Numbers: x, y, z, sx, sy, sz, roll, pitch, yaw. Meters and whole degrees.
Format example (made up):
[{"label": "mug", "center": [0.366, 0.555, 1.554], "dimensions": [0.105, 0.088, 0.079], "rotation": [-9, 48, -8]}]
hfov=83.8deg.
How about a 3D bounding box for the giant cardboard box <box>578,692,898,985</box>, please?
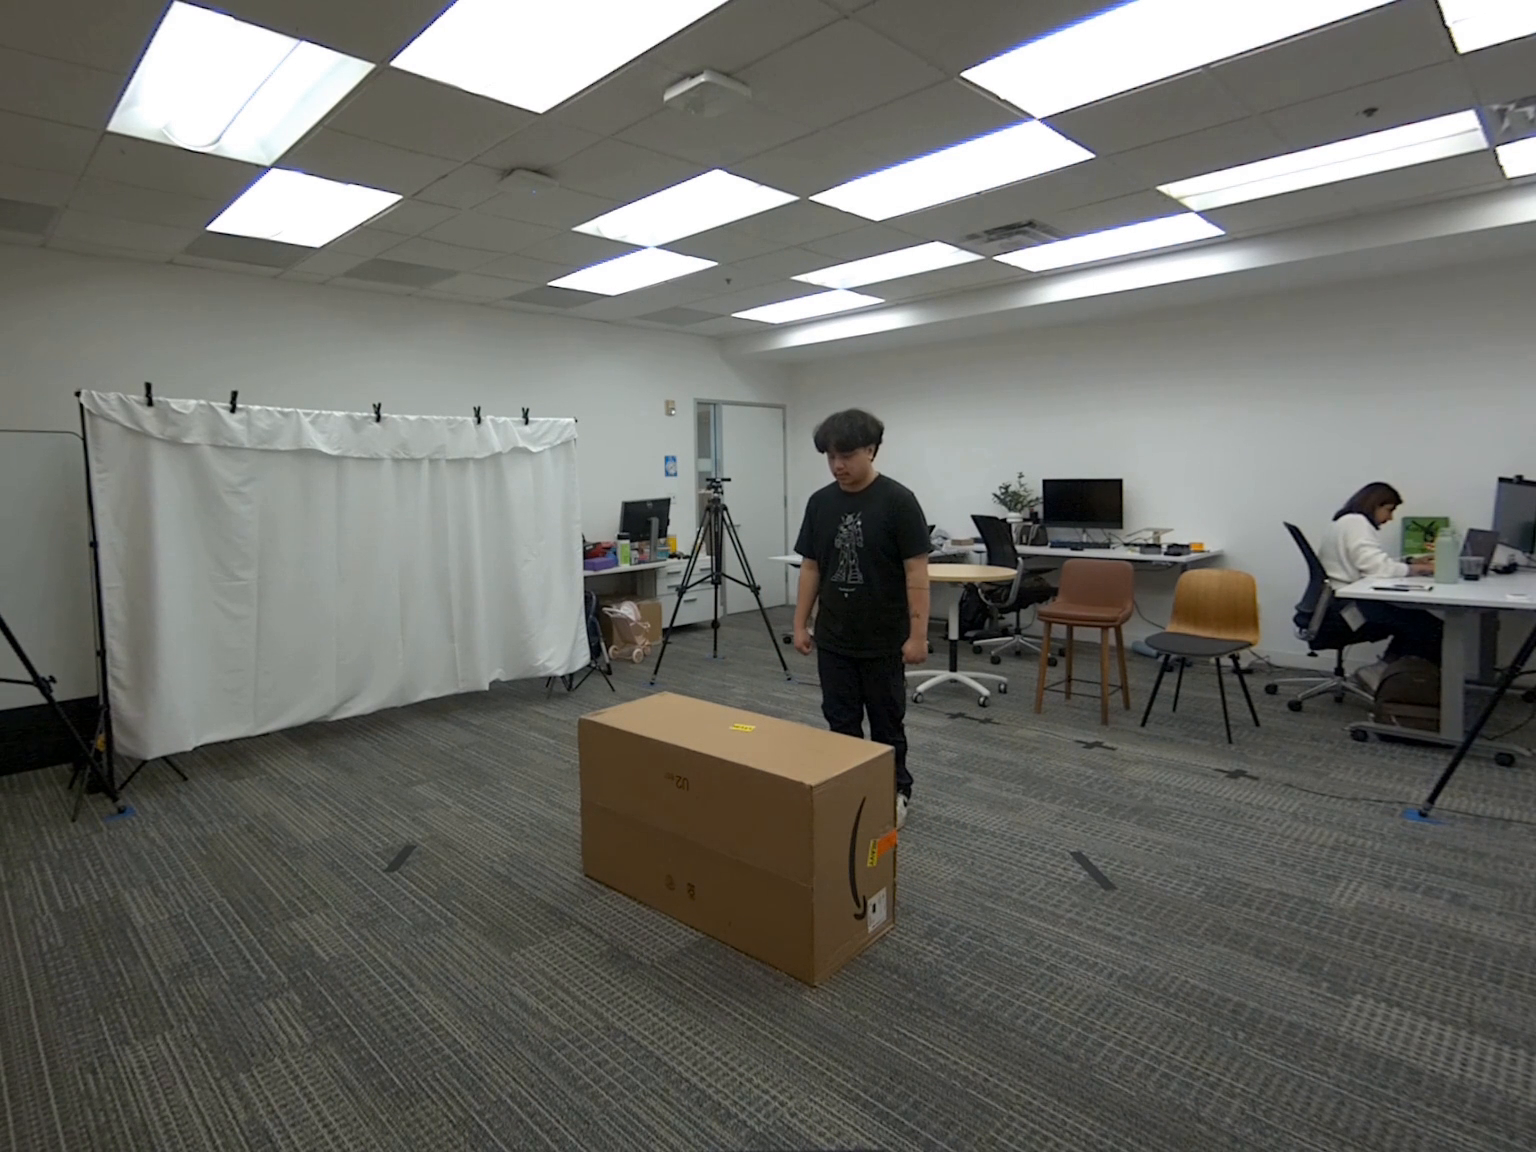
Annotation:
[{"label": "giant cardboard box", "center": [-0.134, 0.791, 2.817], "dimensions": [1.059, 0.582, 0.435], "rotation": [5, 7, 41]}]
